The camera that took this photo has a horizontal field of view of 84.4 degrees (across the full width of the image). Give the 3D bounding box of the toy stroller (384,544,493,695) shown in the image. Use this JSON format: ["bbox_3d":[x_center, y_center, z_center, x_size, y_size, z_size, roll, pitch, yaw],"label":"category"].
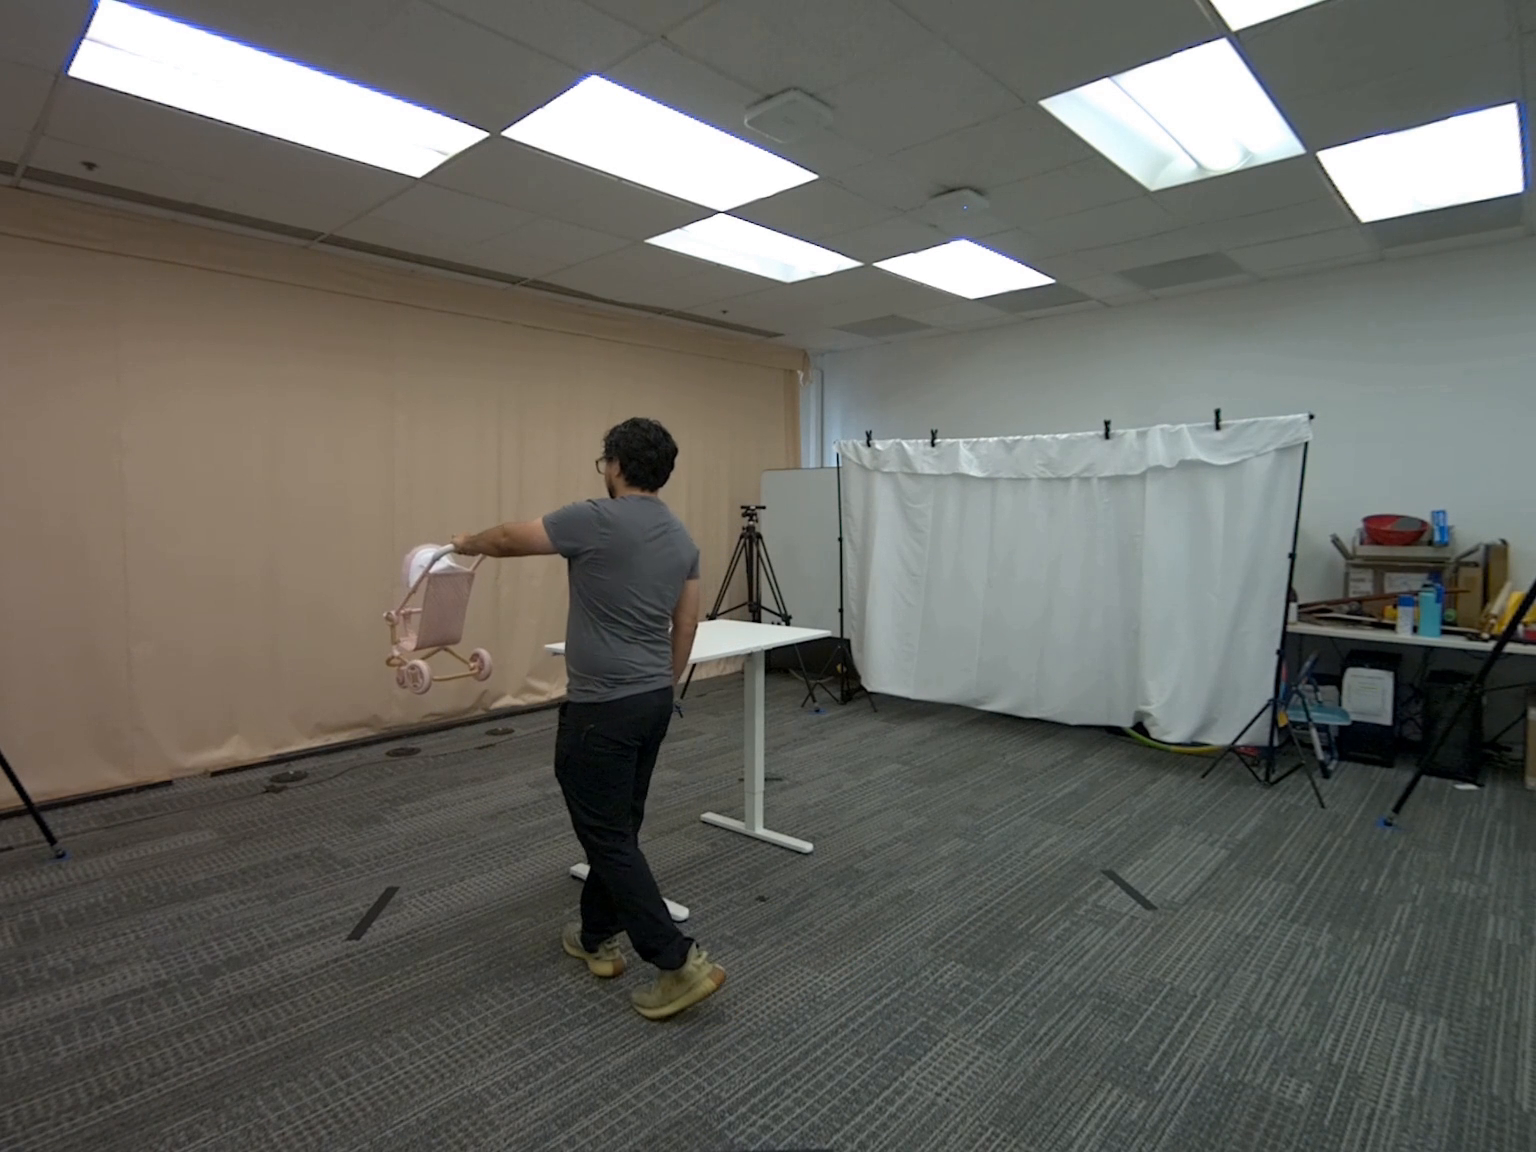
[{"bbox_3d":[-1.107,0.137,2.759,0.353,0.533,0.273,10,8,35],"label":"toy stroller"}]
